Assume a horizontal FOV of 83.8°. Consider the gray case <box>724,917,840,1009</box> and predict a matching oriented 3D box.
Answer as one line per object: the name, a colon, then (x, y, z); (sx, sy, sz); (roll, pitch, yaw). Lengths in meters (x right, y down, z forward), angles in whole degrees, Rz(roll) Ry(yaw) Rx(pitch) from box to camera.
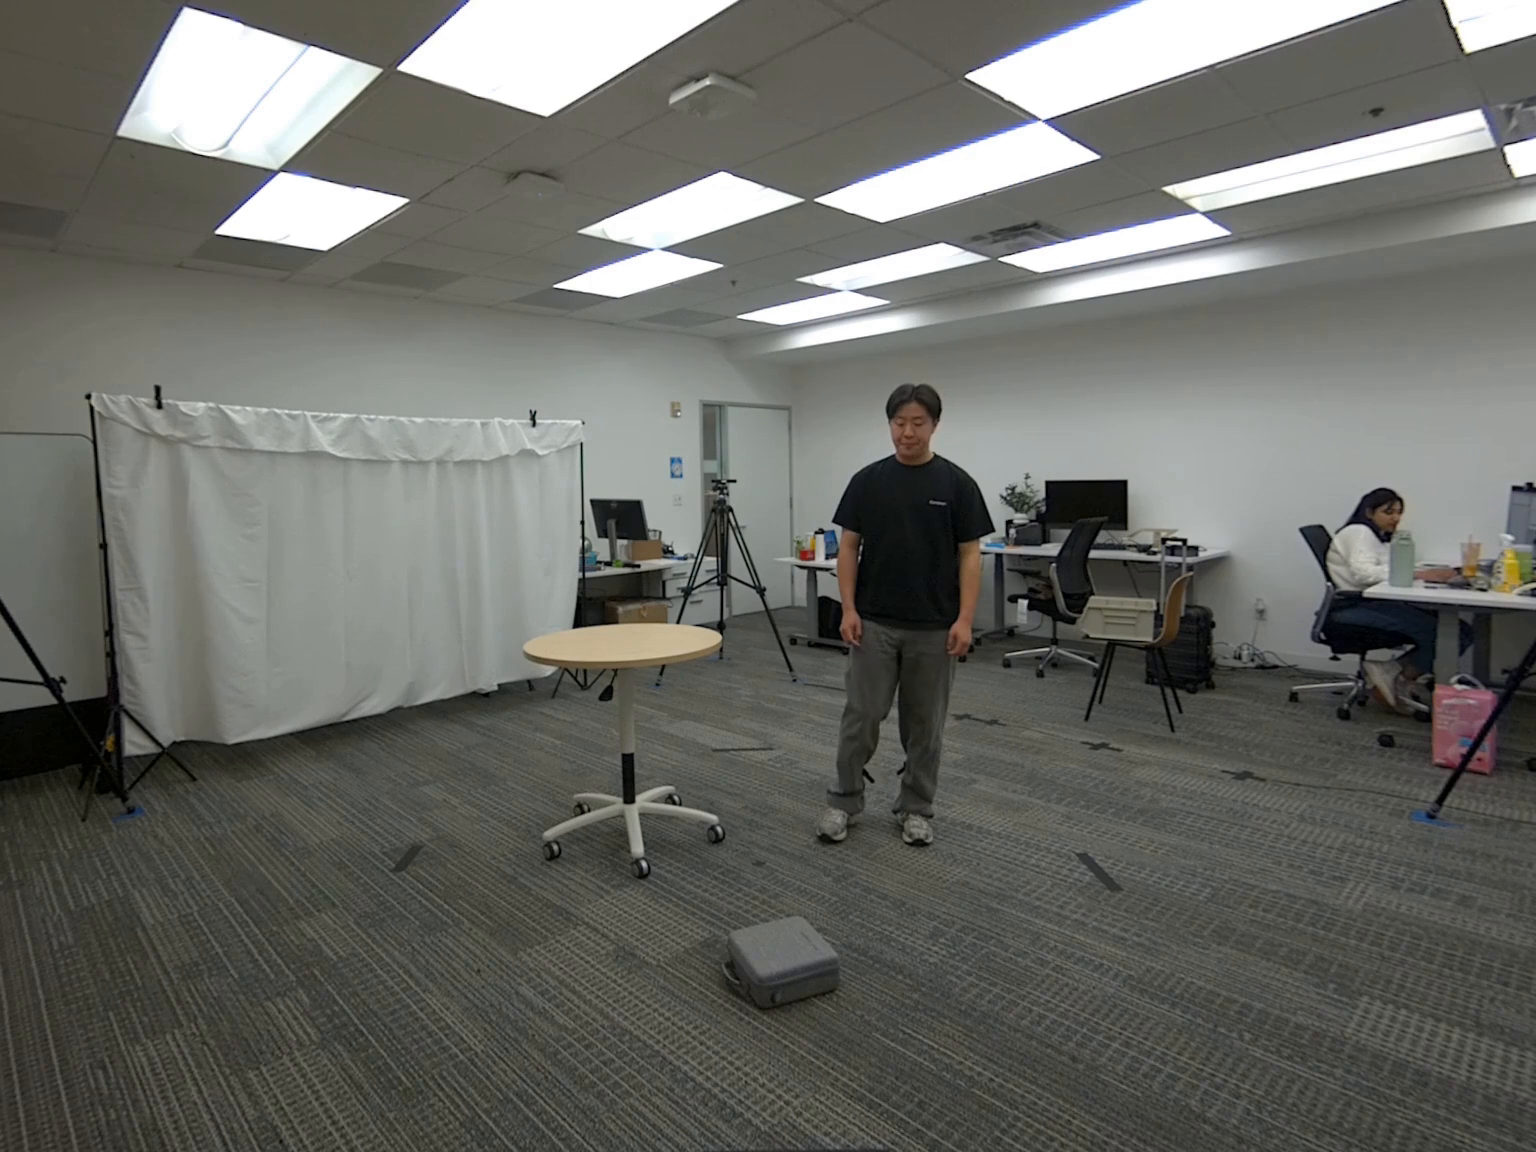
gray case: (0.035, 1.077, 2.389); (0.282, 0.102, 0.269); (-5, 6, -21)
